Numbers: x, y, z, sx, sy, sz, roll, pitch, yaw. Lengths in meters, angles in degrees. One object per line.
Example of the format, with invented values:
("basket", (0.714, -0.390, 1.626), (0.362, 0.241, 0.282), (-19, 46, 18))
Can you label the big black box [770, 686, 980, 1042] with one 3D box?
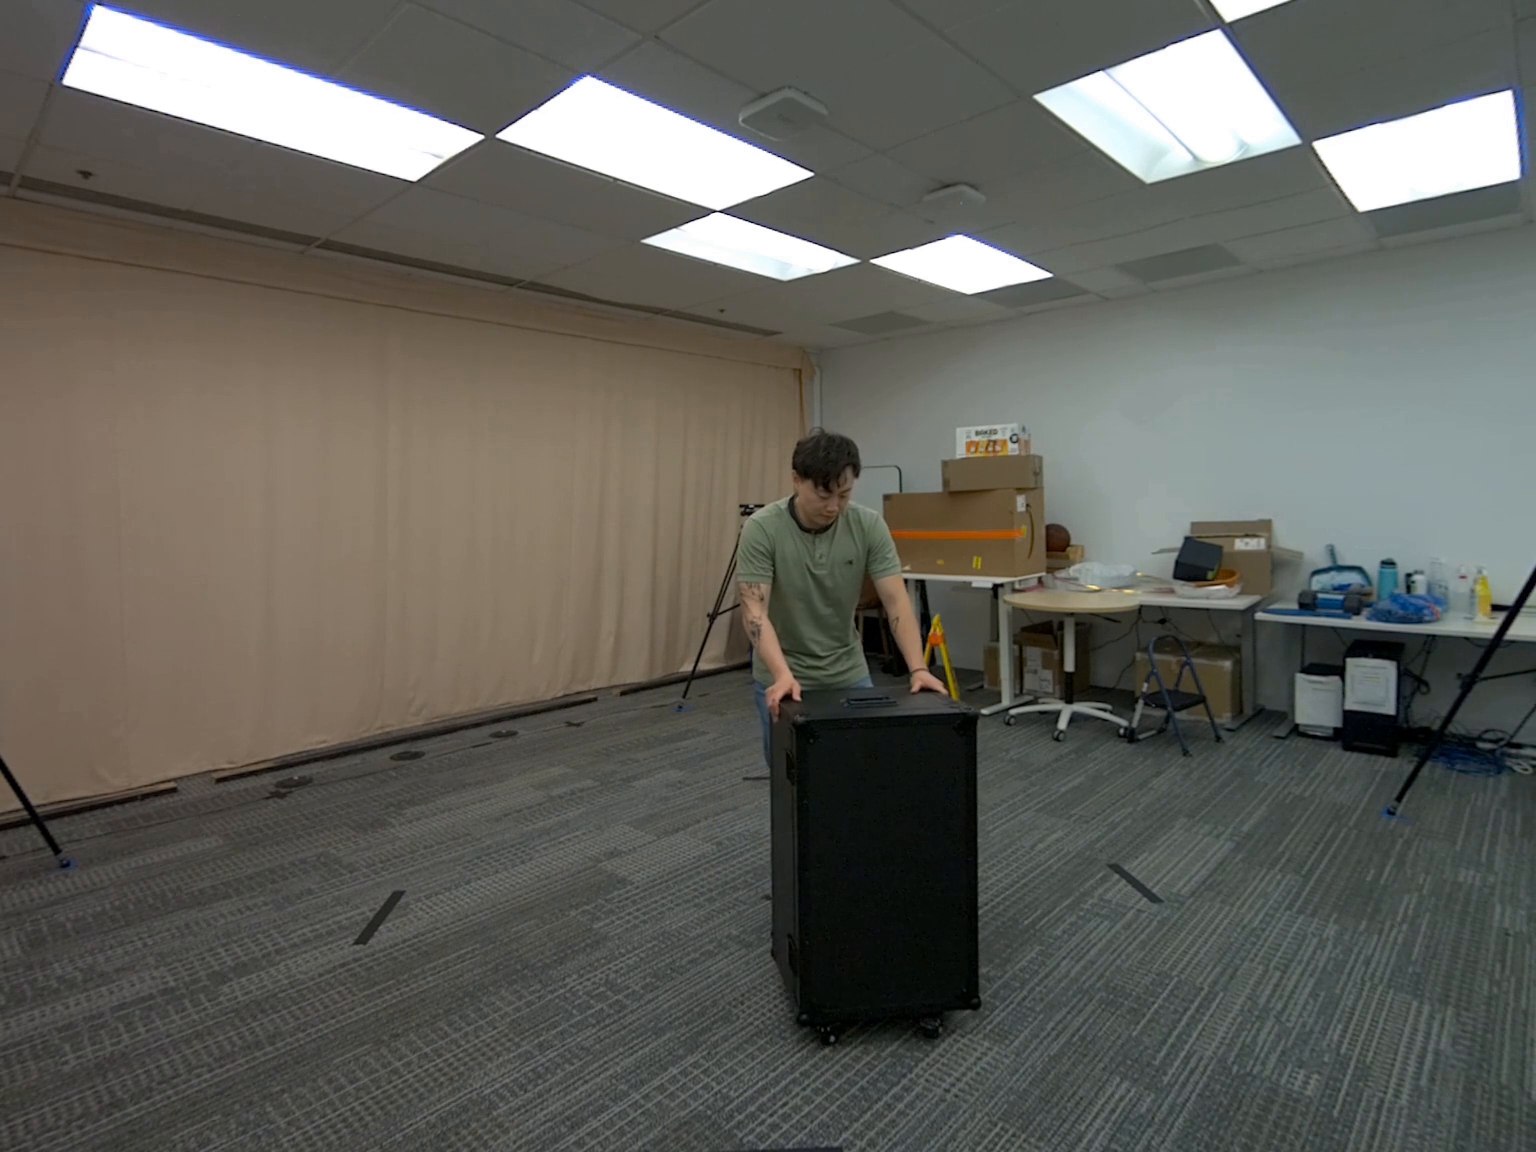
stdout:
("big black box", (0.275, 0.766, 2.325), (0.517, 0.860, 0.400), (-1, 1, -9))
